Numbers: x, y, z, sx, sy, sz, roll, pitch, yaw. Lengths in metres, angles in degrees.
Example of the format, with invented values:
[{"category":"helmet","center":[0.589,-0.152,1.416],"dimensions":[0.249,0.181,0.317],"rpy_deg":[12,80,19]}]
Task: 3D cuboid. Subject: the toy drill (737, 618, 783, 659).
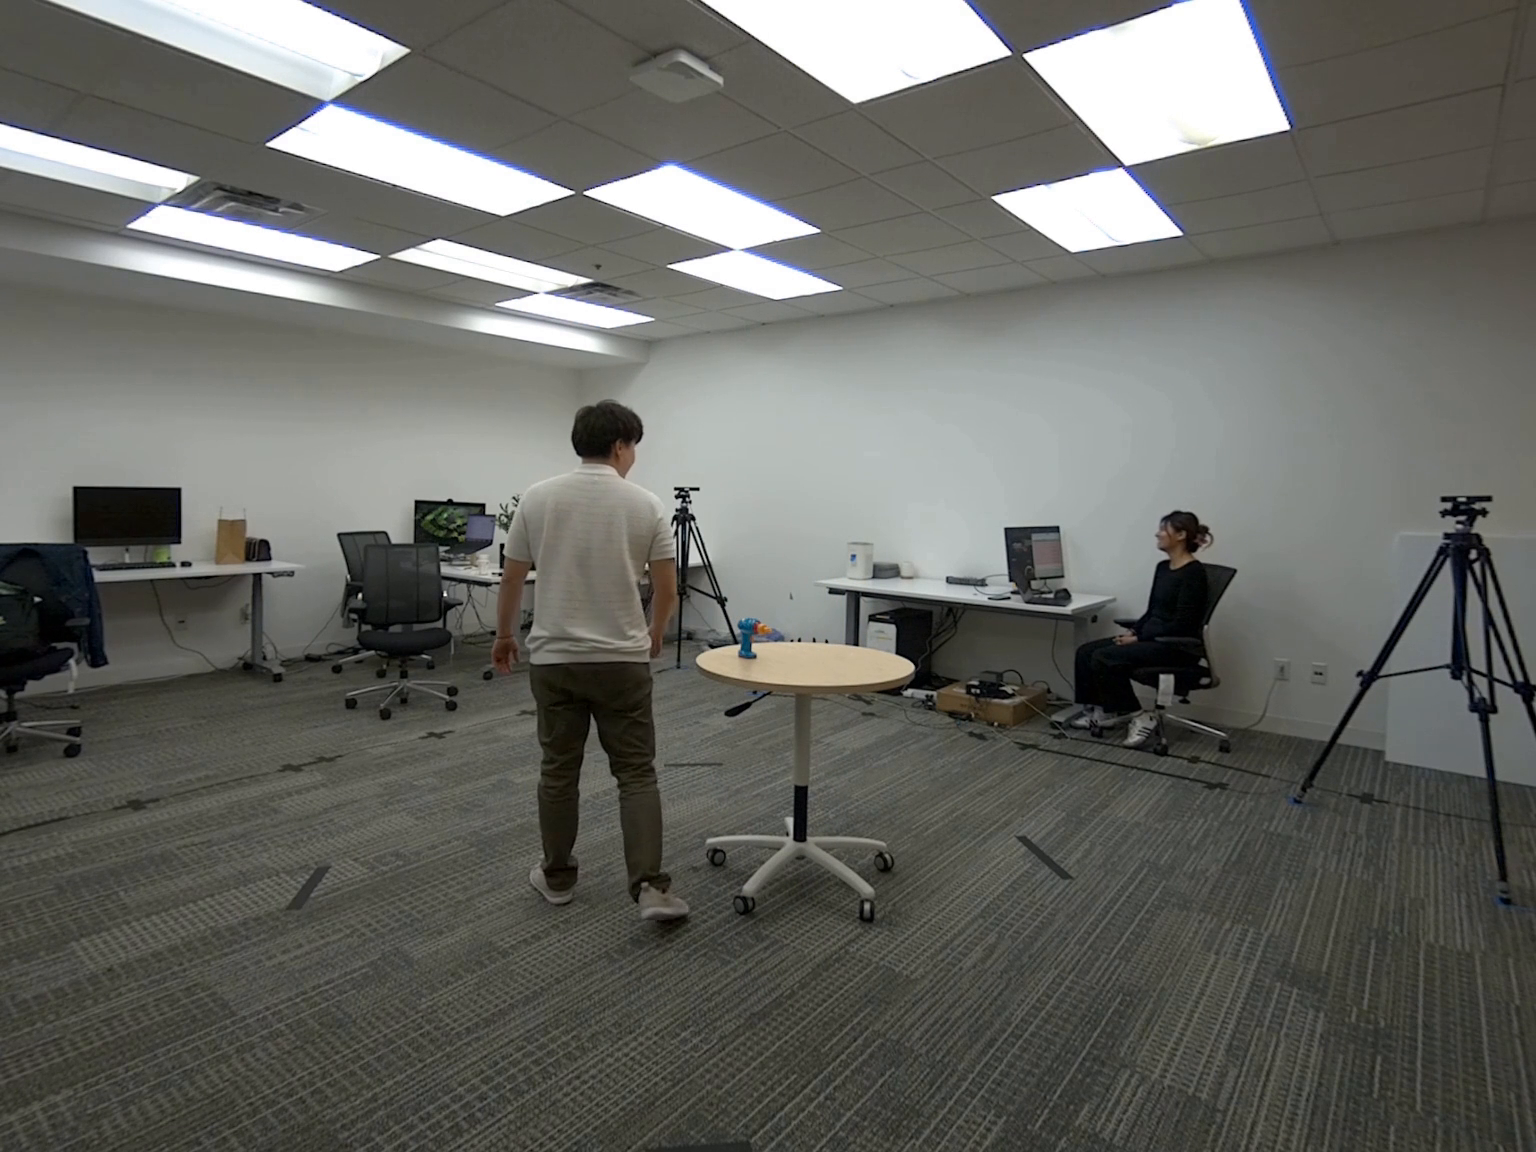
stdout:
[{"category":"toy drill","center":[-0.059,0.222,3.039],"dimensions":[0.059,0.146,0.175],"rpy_deg":[2,1,-41]}]
